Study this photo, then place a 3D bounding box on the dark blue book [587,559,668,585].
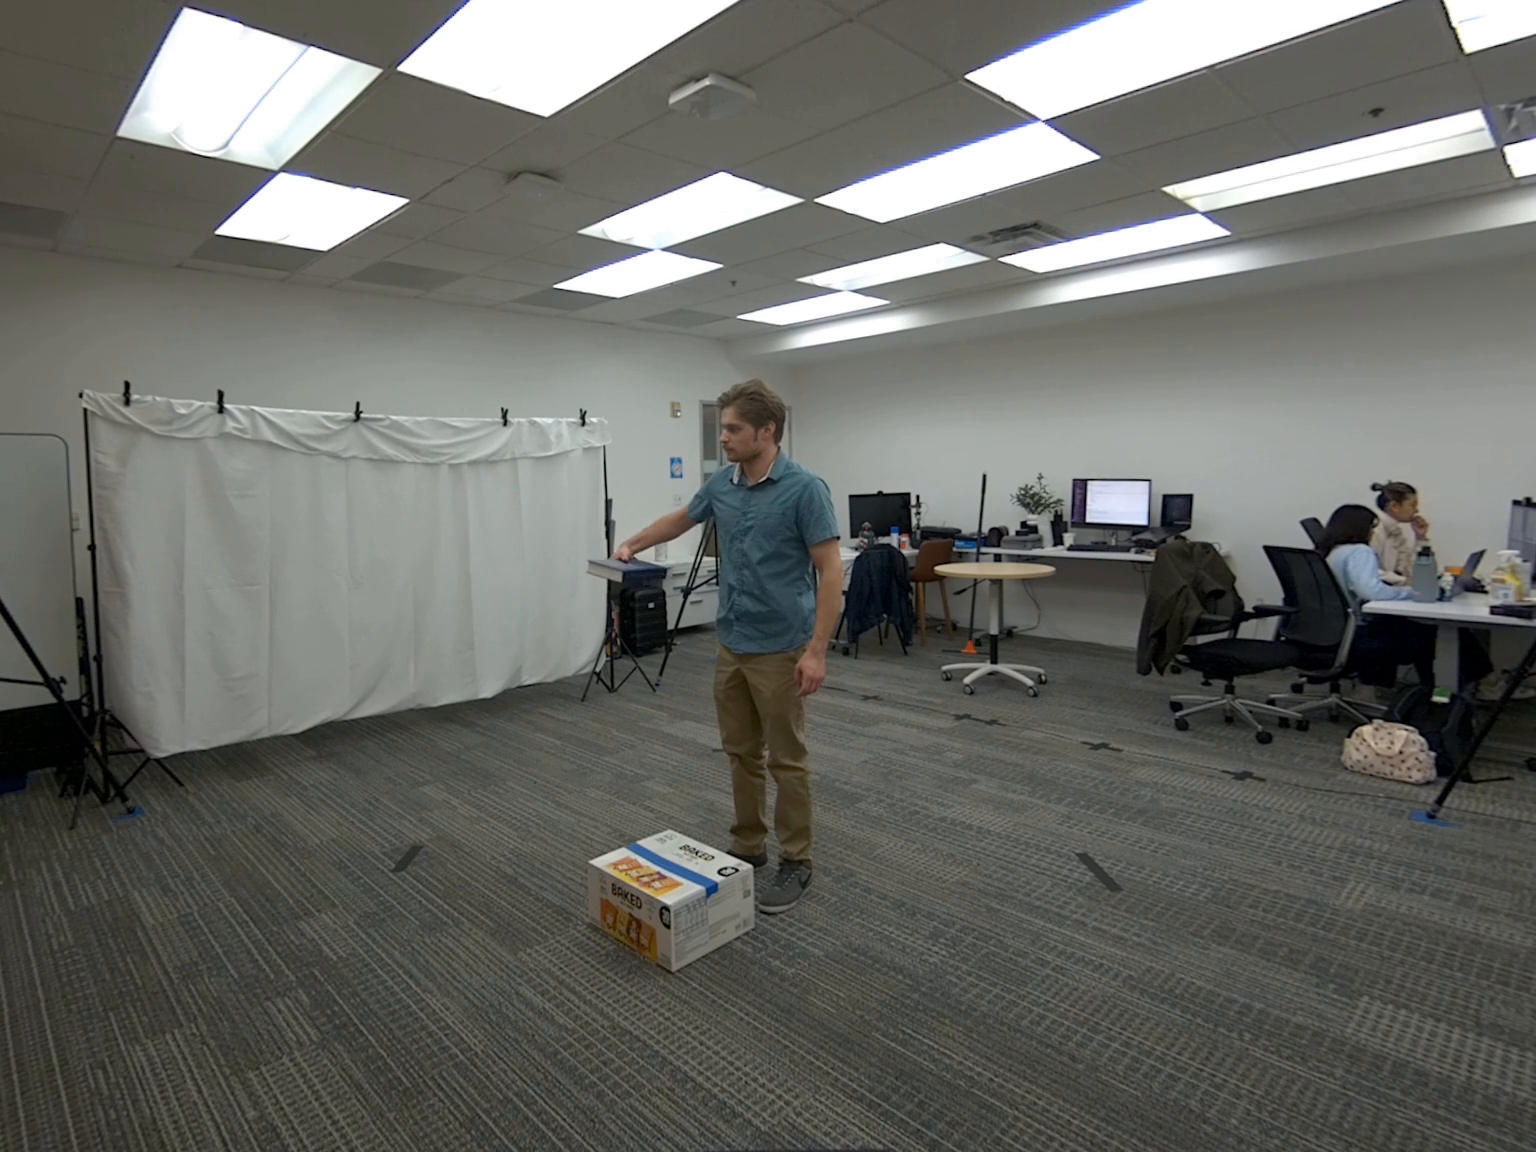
[{"bbox_3d":[-0.475,-0.020,2.950,0.168,0.045,0.239,12,9,27],"label":"dark blue book"}]
